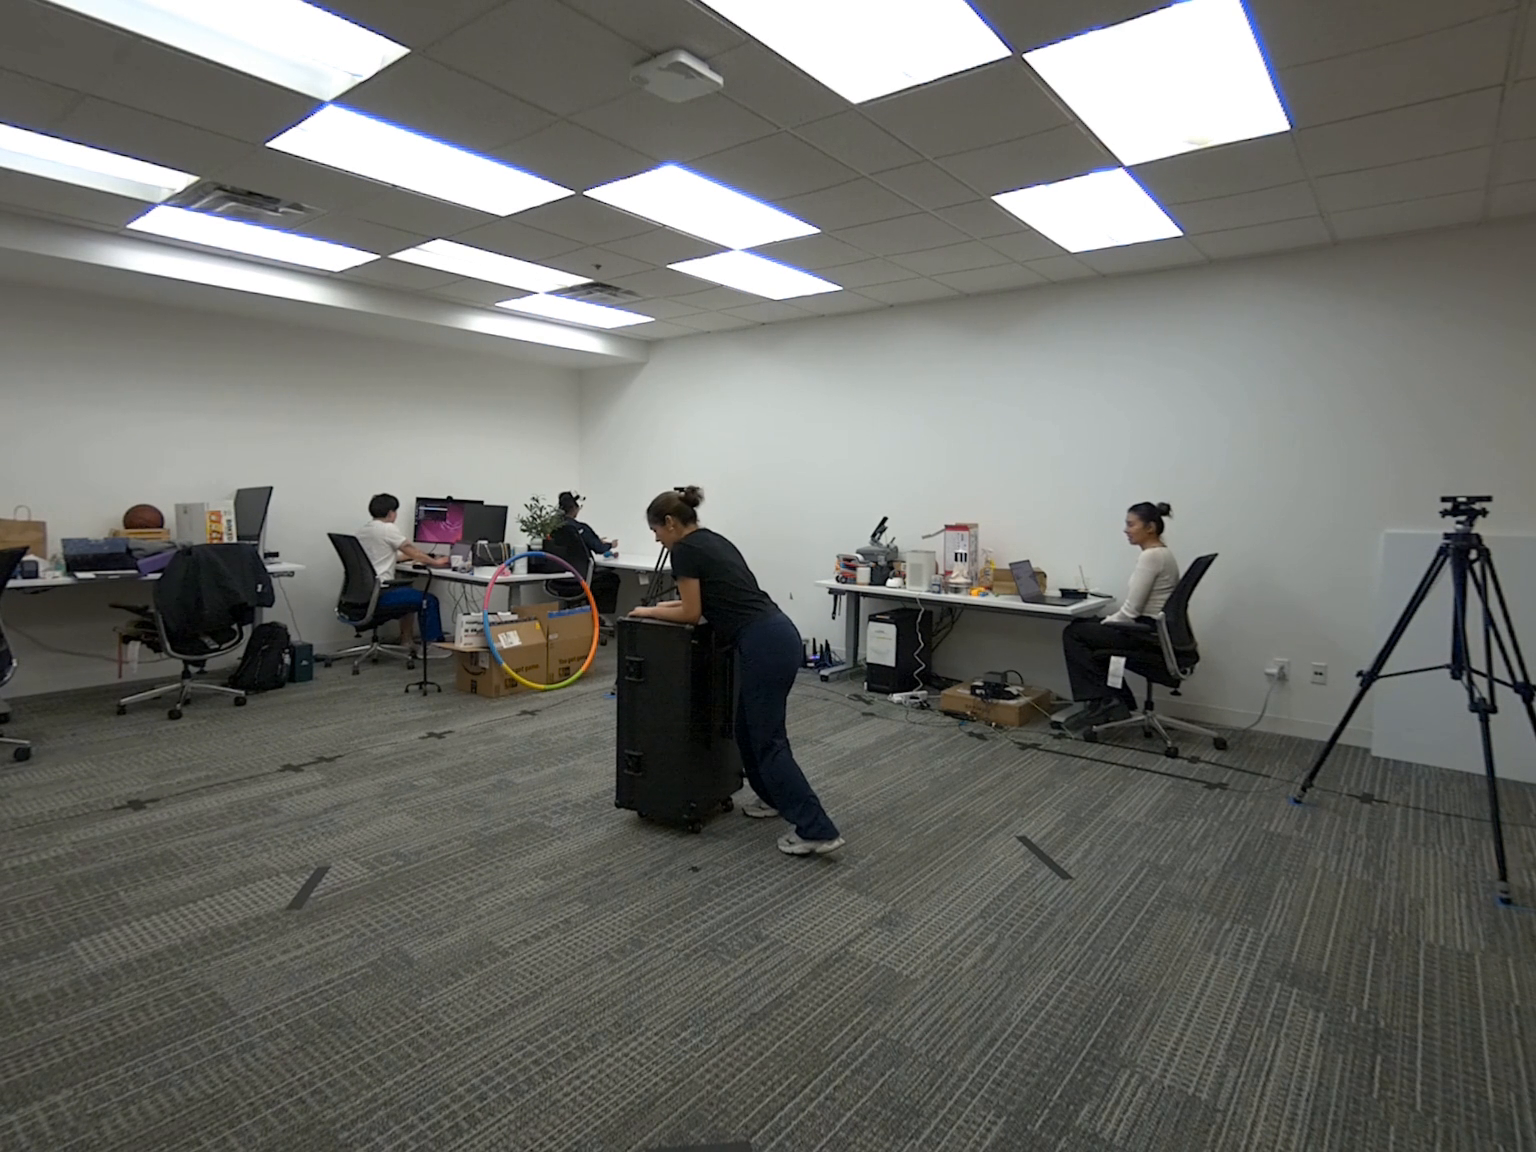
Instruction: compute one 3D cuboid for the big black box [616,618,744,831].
[{"bbox_3d":[-0.342,0.530,3.619,0.407,0.859,0.509,2,3,27],"label":"big black box"}]
